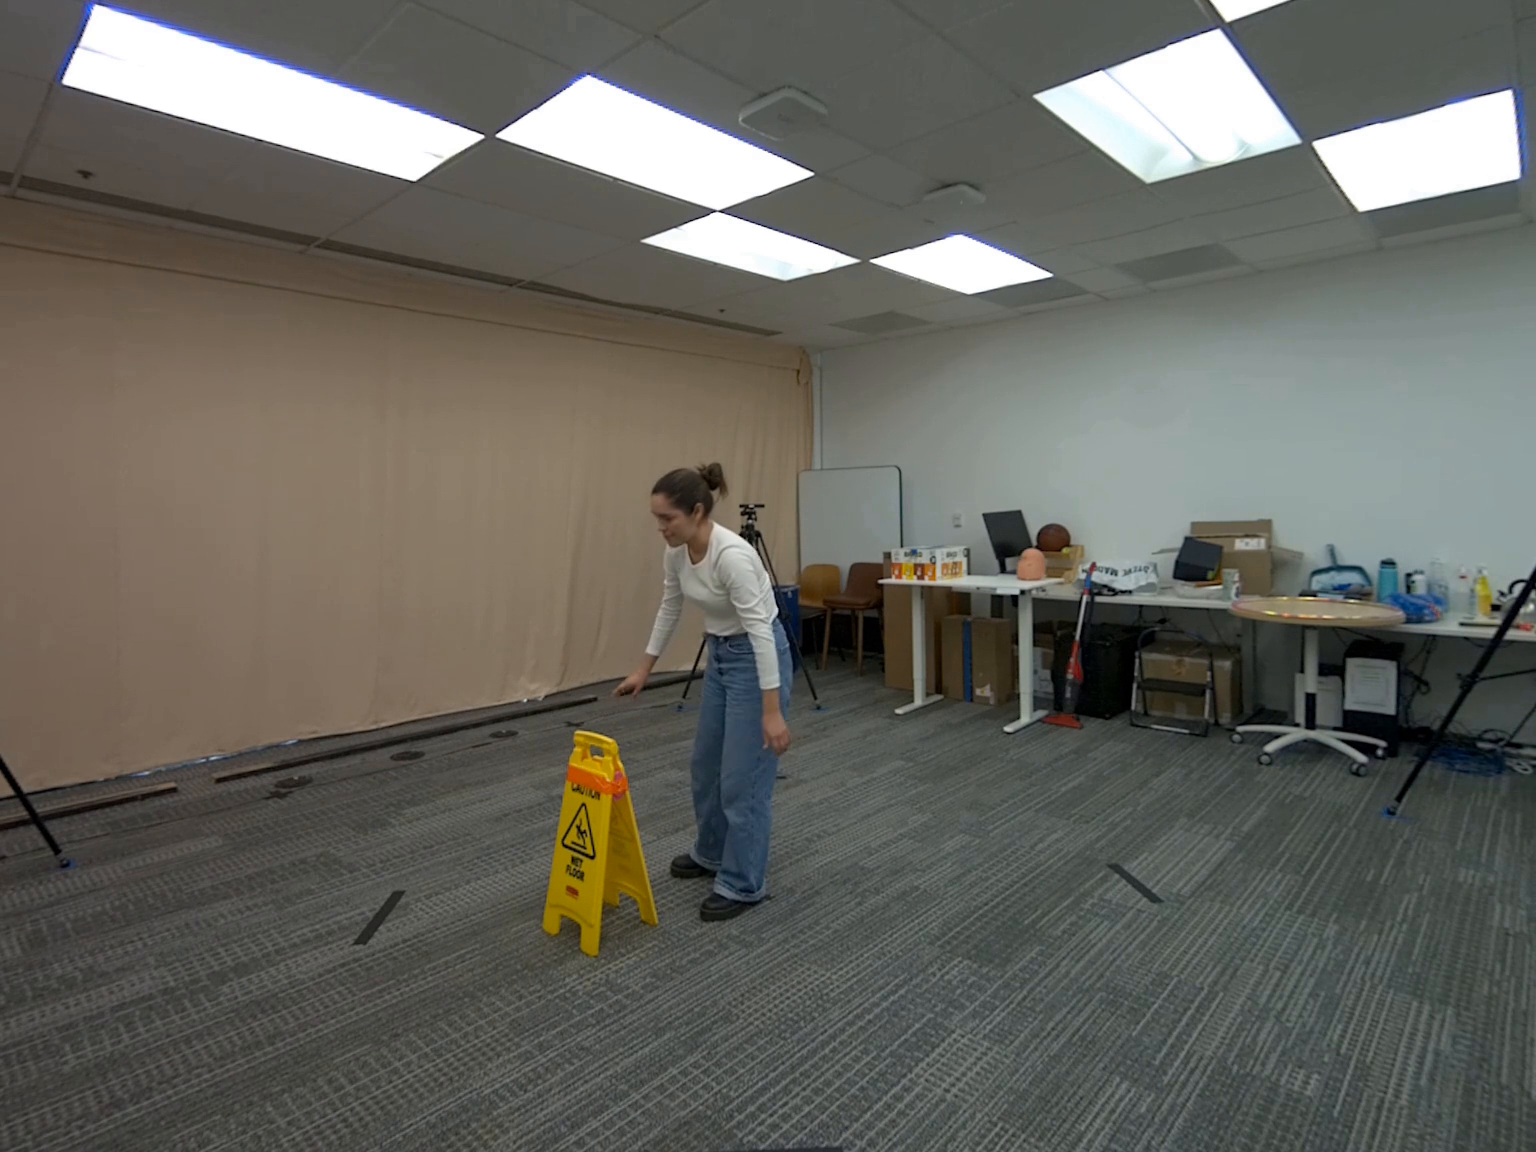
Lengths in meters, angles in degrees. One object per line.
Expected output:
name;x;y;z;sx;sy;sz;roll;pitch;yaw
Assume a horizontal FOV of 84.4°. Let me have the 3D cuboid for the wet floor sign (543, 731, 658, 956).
wet floor sign;-0.554;0.846;2.787;0.291;0.645;0.281;2;4;42
